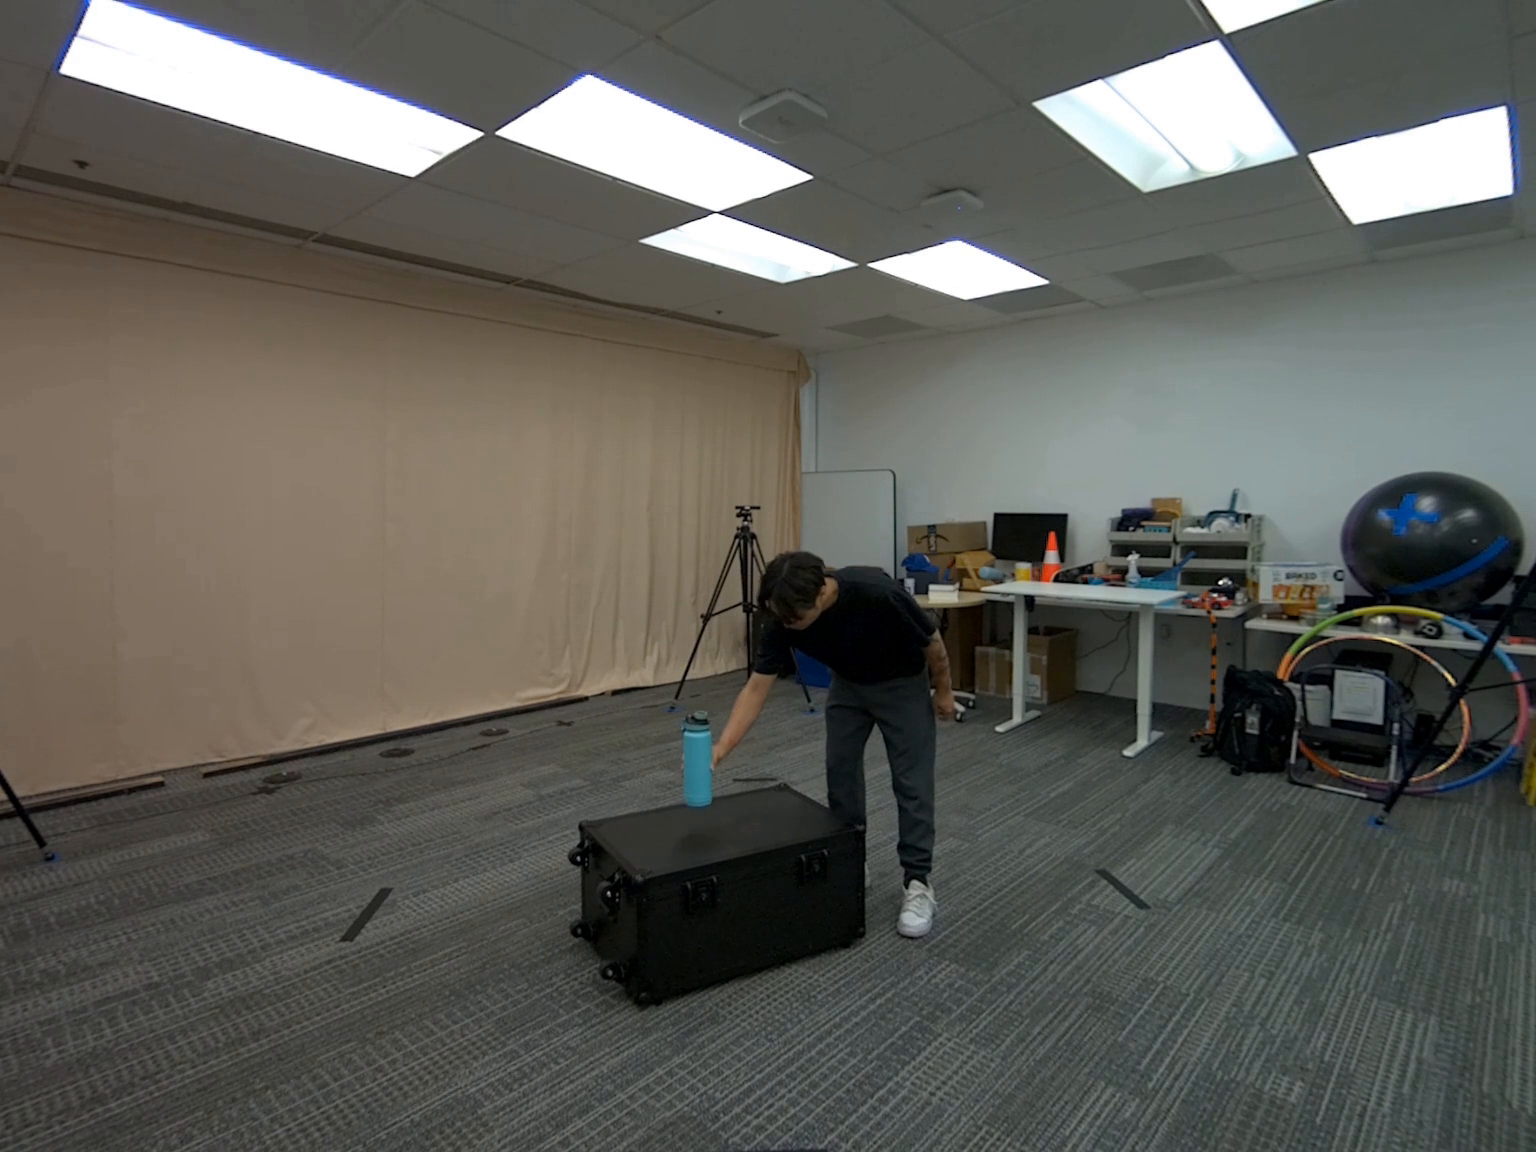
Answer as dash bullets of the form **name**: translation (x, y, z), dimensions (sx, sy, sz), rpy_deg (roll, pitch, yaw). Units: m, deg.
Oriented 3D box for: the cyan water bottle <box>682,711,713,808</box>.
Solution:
- **cyan water bottle**: translation (-0.221, 0.565, 2.647), dimensions (0.092, 0.283, 0.092), rpy_deg (-2, -1, -2)
